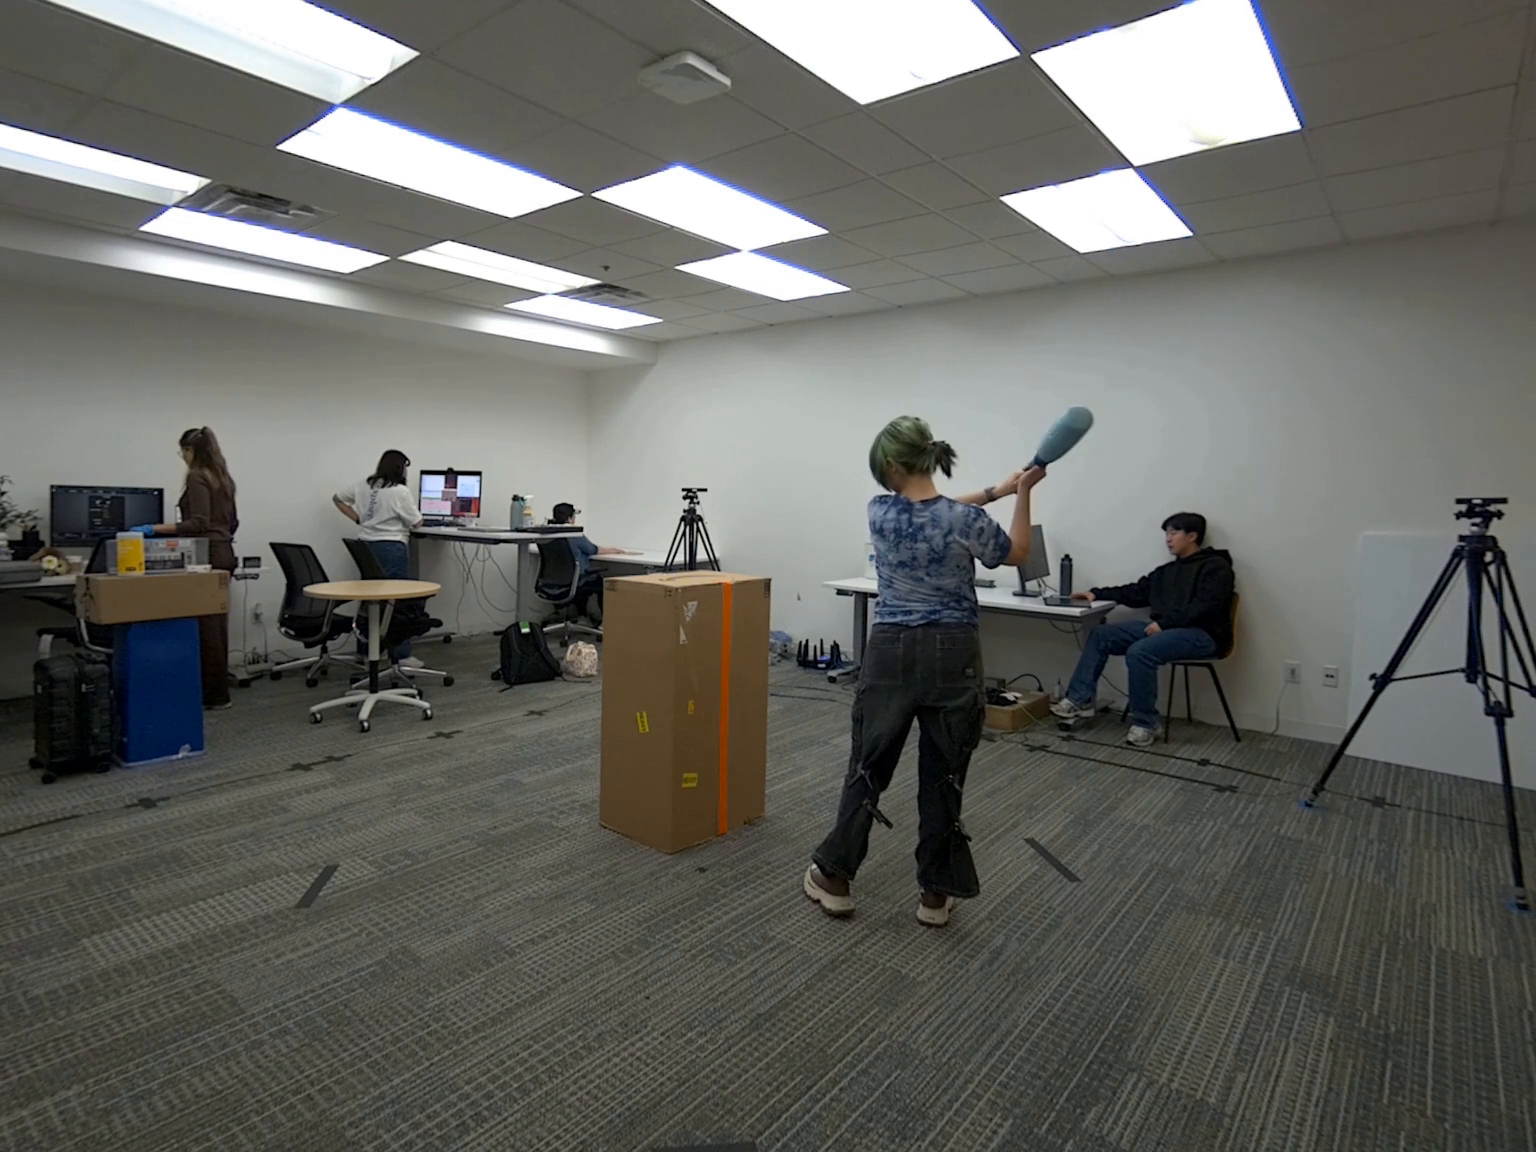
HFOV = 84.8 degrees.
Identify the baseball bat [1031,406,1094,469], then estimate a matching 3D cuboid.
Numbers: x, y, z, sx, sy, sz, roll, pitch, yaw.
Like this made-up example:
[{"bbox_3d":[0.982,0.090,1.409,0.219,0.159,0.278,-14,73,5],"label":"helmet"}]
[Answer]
[{"bbox_3d":[0.833,-0.372,2.703,0.088,0.091,0.538,1,-17,-9],"label":"baseball bat"}]
